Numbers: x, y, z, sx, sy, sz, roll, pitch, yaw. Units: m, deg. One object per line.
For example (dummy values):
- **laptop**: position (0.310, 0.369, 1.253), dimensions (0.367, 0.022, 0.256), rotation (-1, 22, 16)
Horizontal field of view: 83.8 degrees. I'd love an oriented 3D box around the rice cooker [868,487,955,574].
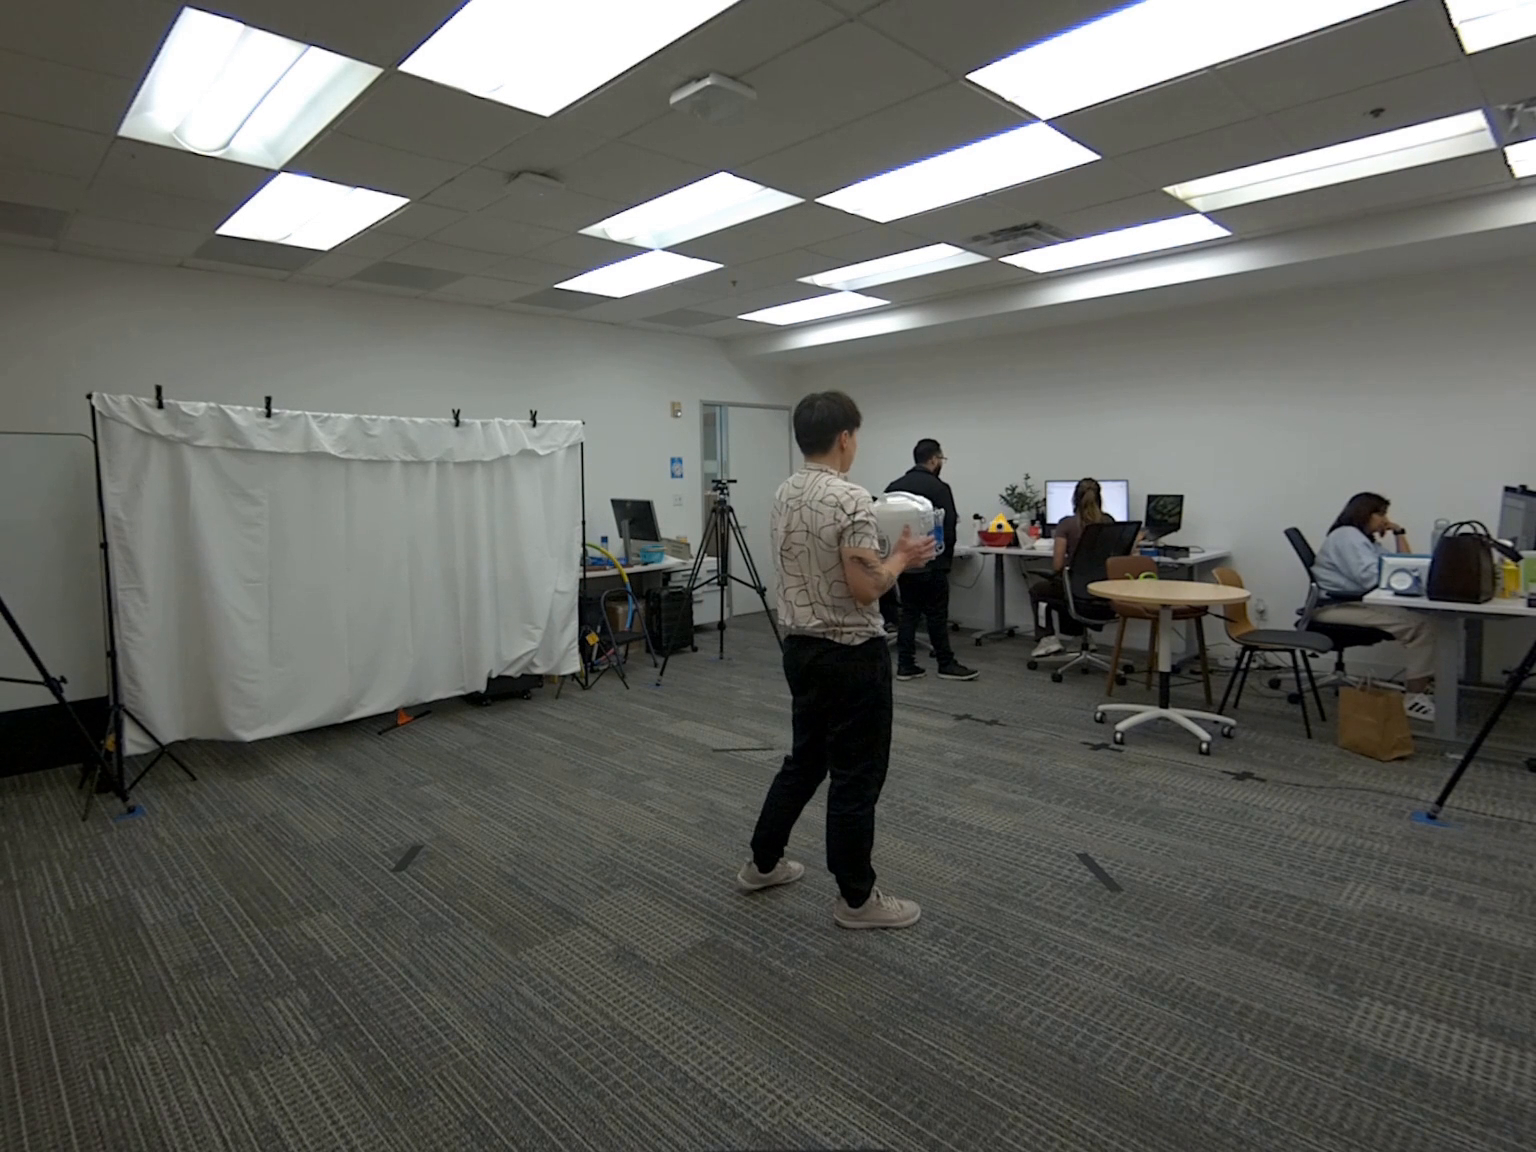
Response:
- **rice cooker**: position (0.437, -0.156, 2.770), dimensions (0.213, 0.230, 0.227), rotation (-15, 13, -41)
